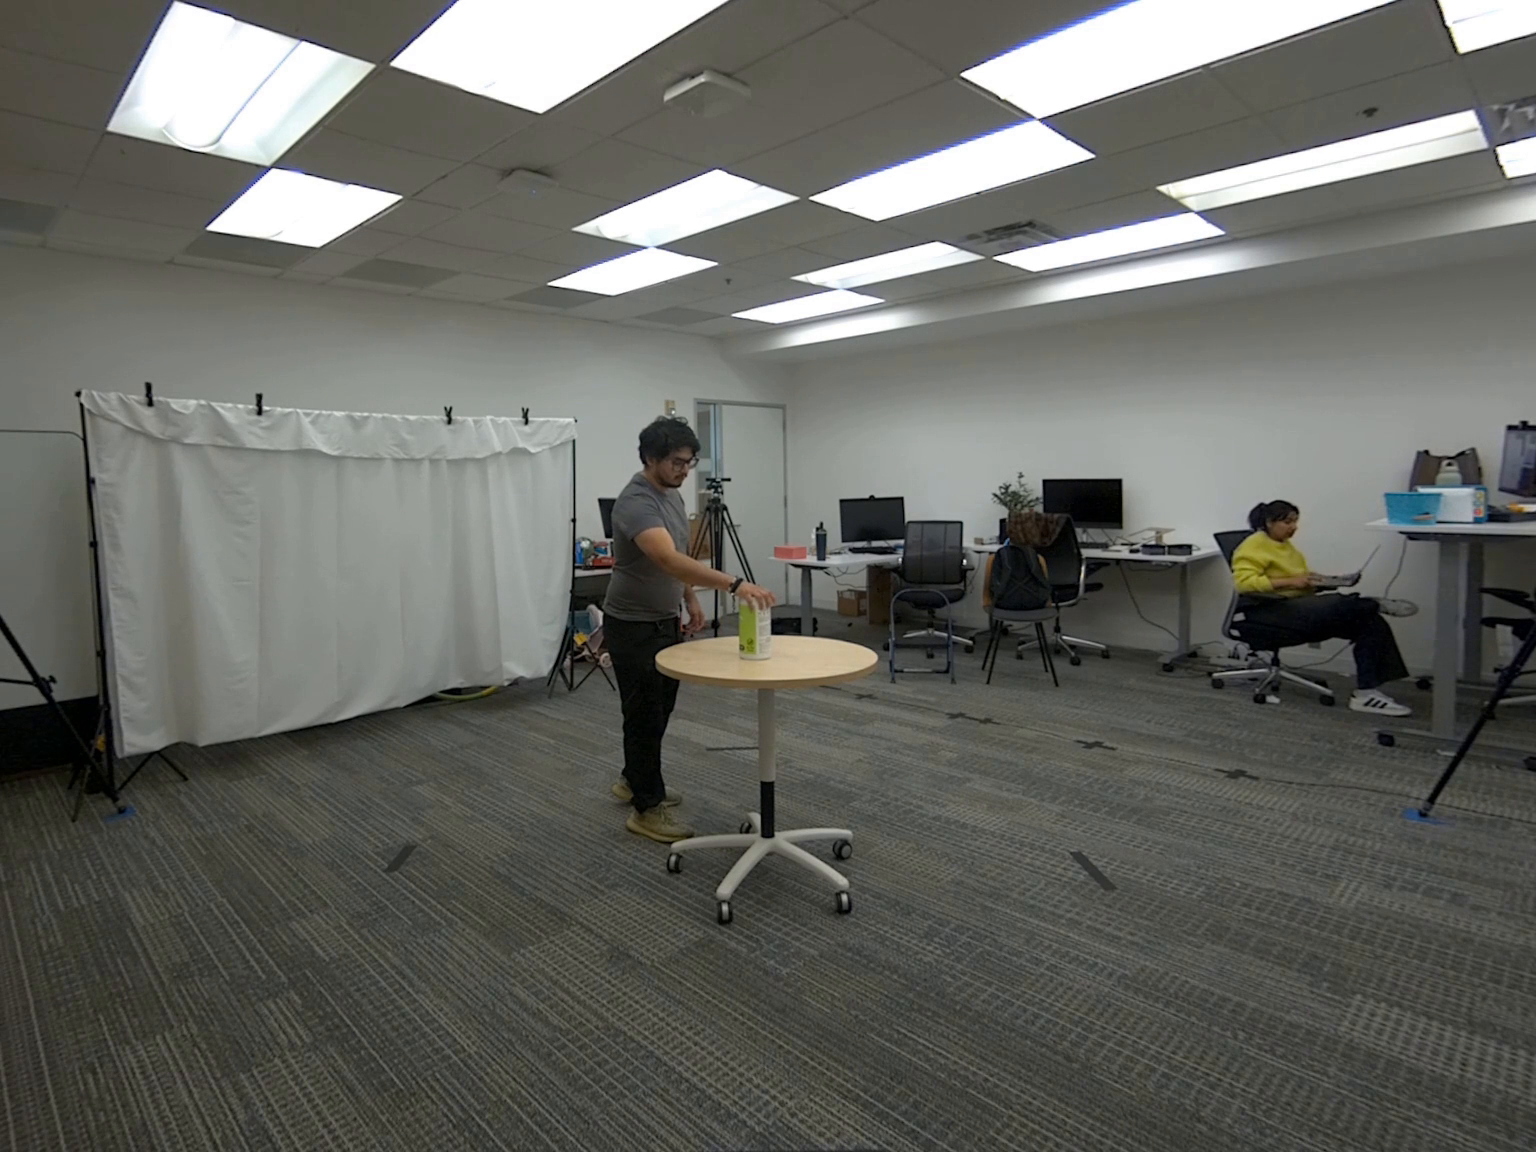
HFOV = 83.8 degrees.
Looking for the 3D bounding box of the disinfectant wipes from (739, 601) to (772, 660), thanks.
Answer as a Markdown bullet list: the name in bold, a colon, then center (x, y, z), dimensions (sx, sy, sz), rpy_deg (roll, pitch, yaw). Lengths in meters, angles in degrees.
- **disinfectant wipes**: center (-0.040, 0.173, 2.925), dimensions (0.118, 0.217, 0.118), rpy_deg (-2, 2, -2)
